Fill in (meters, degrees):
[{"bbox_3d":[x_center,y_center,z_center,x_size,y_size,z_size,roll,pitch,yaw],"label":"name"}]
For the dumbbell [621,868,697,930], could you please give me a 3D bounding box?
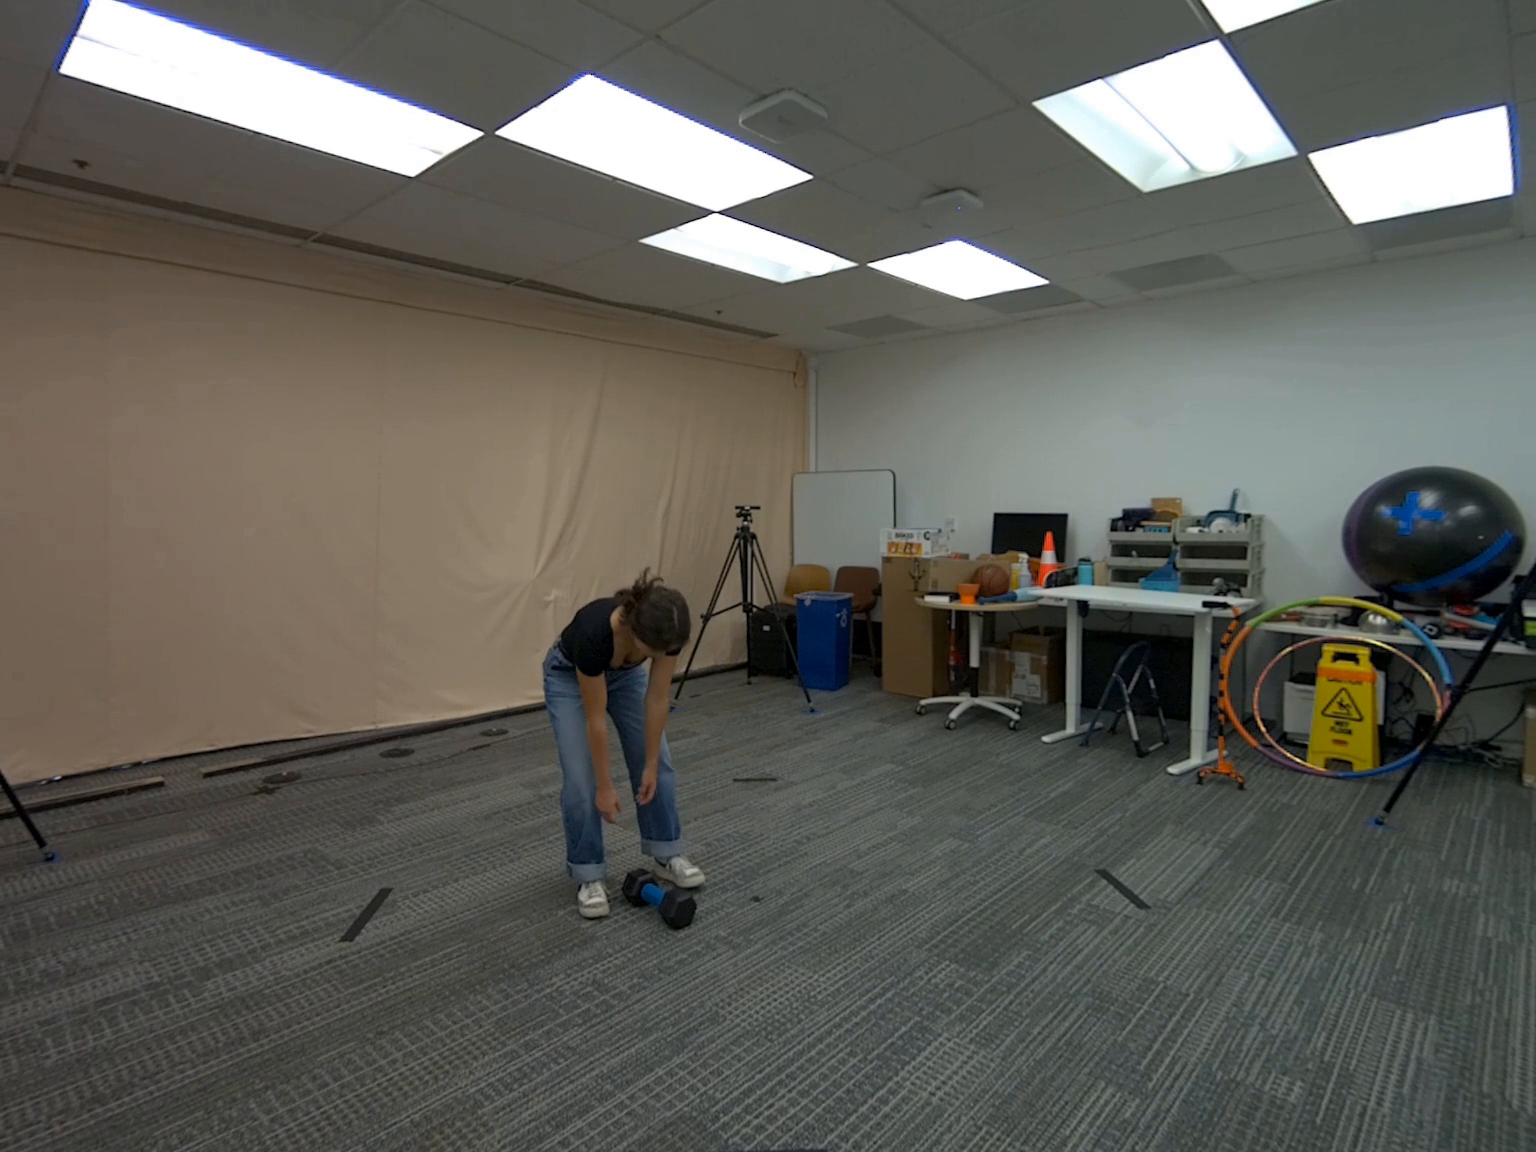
[{"bbox_3d":[-0.367,1.104,2.881,0.303,0.120,0.107,0,34,48],"label":"dumbbell"}]
